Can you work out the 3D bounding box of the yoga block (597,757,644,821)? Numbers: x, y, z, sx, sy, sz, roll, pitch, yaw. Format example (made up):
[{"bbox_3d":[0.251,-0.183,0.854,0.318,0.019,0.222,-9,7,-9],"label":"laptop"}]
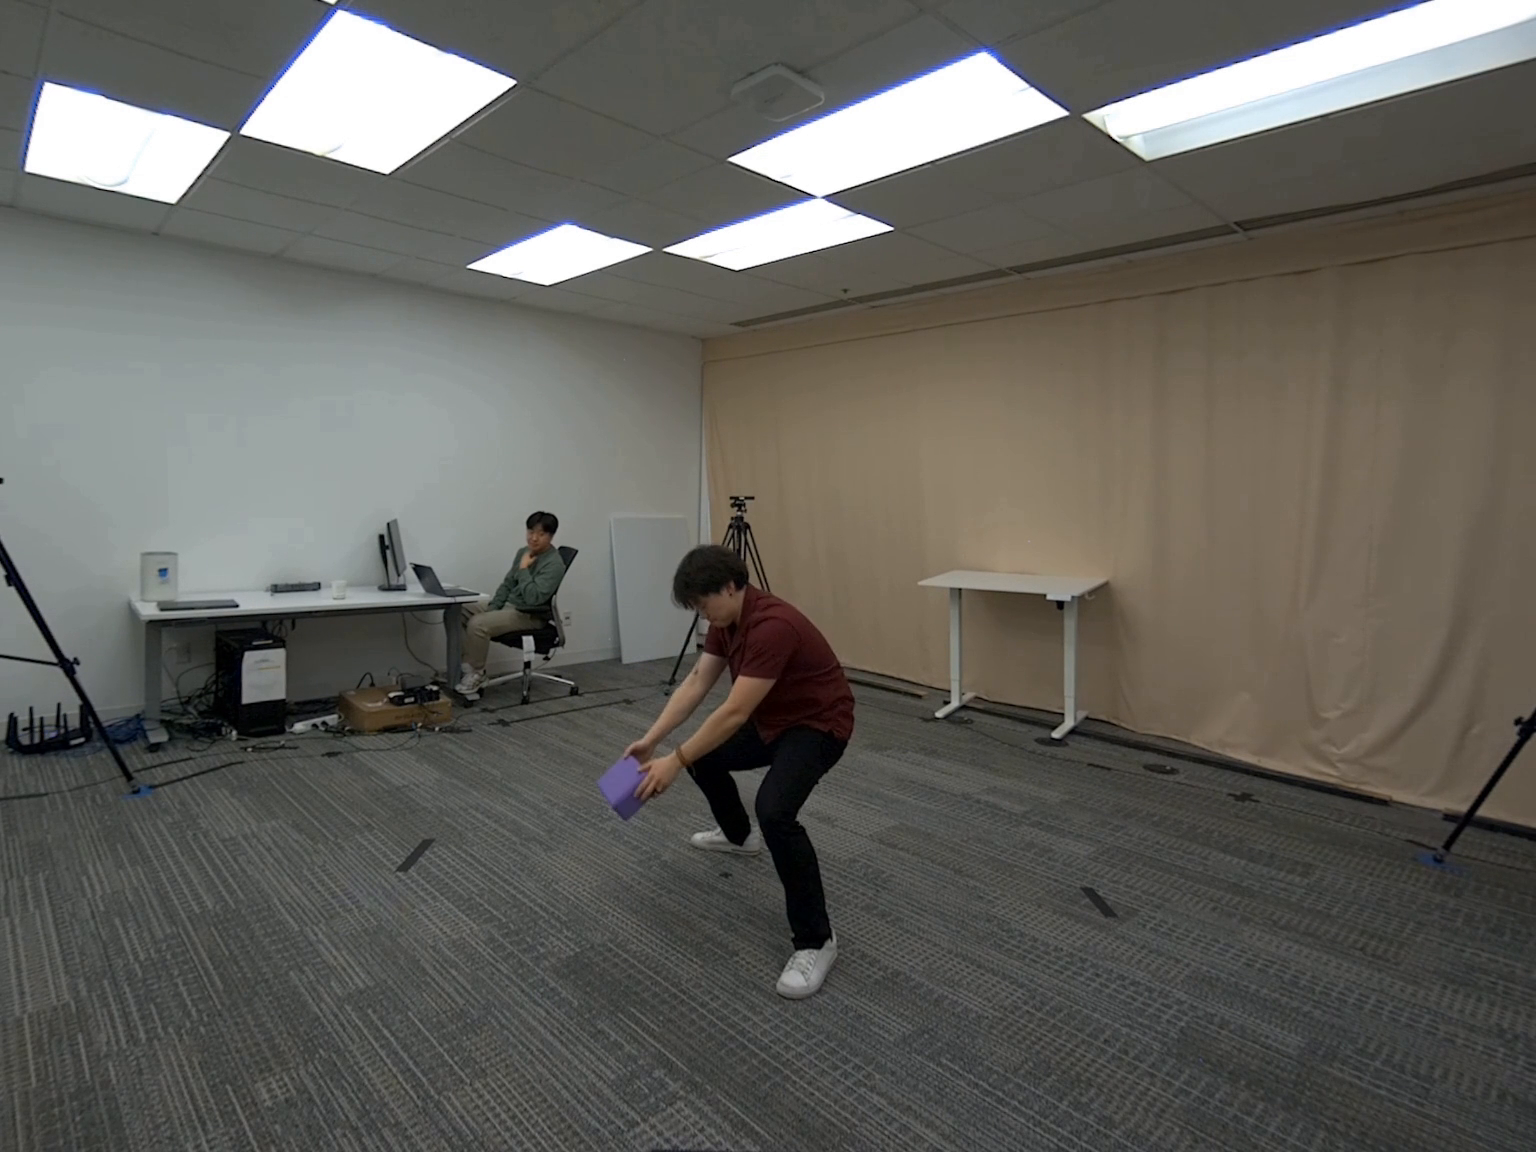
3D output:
[{"bbox_3d":[-0.457,0.656,2.697,0.148,0.075,0.233,-39,17,-15],"label":"yoga block"}]
